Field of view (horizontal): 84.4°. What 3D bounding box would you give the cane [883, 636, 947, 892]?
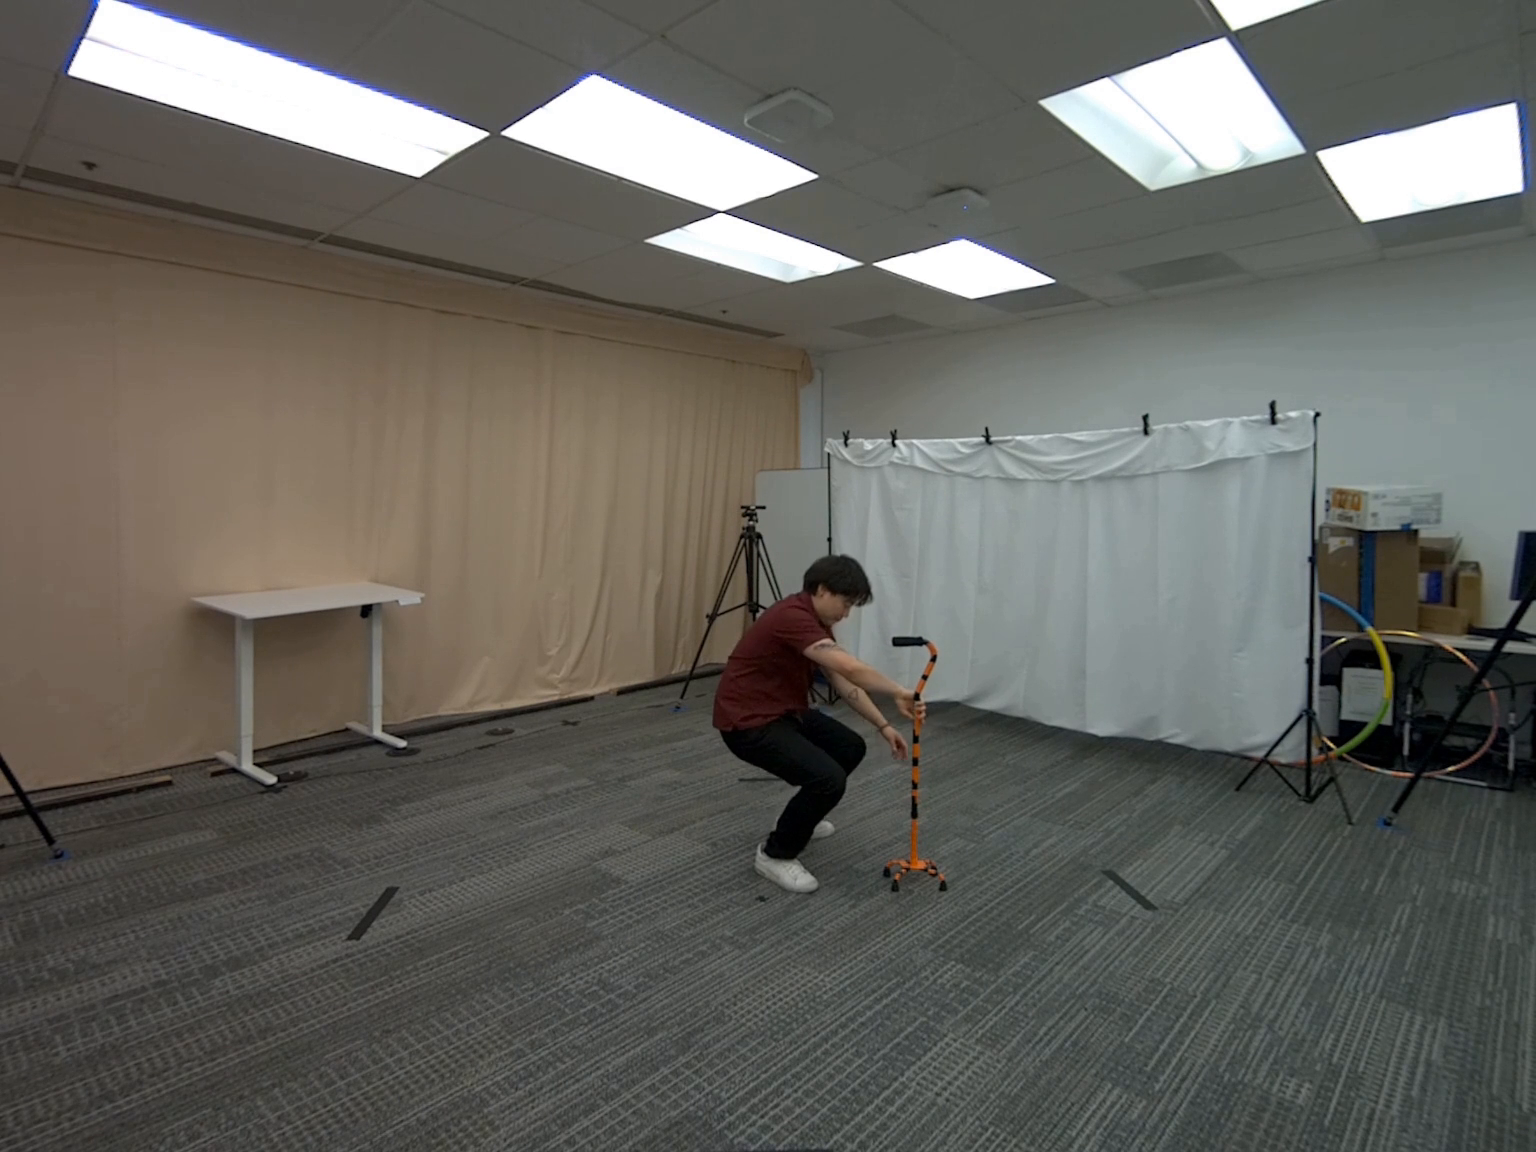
[{"bbox_3d":[0.551,0.682,3.075,0.206,0.906,0.152,0,3,-4],"label":"cane"}]
